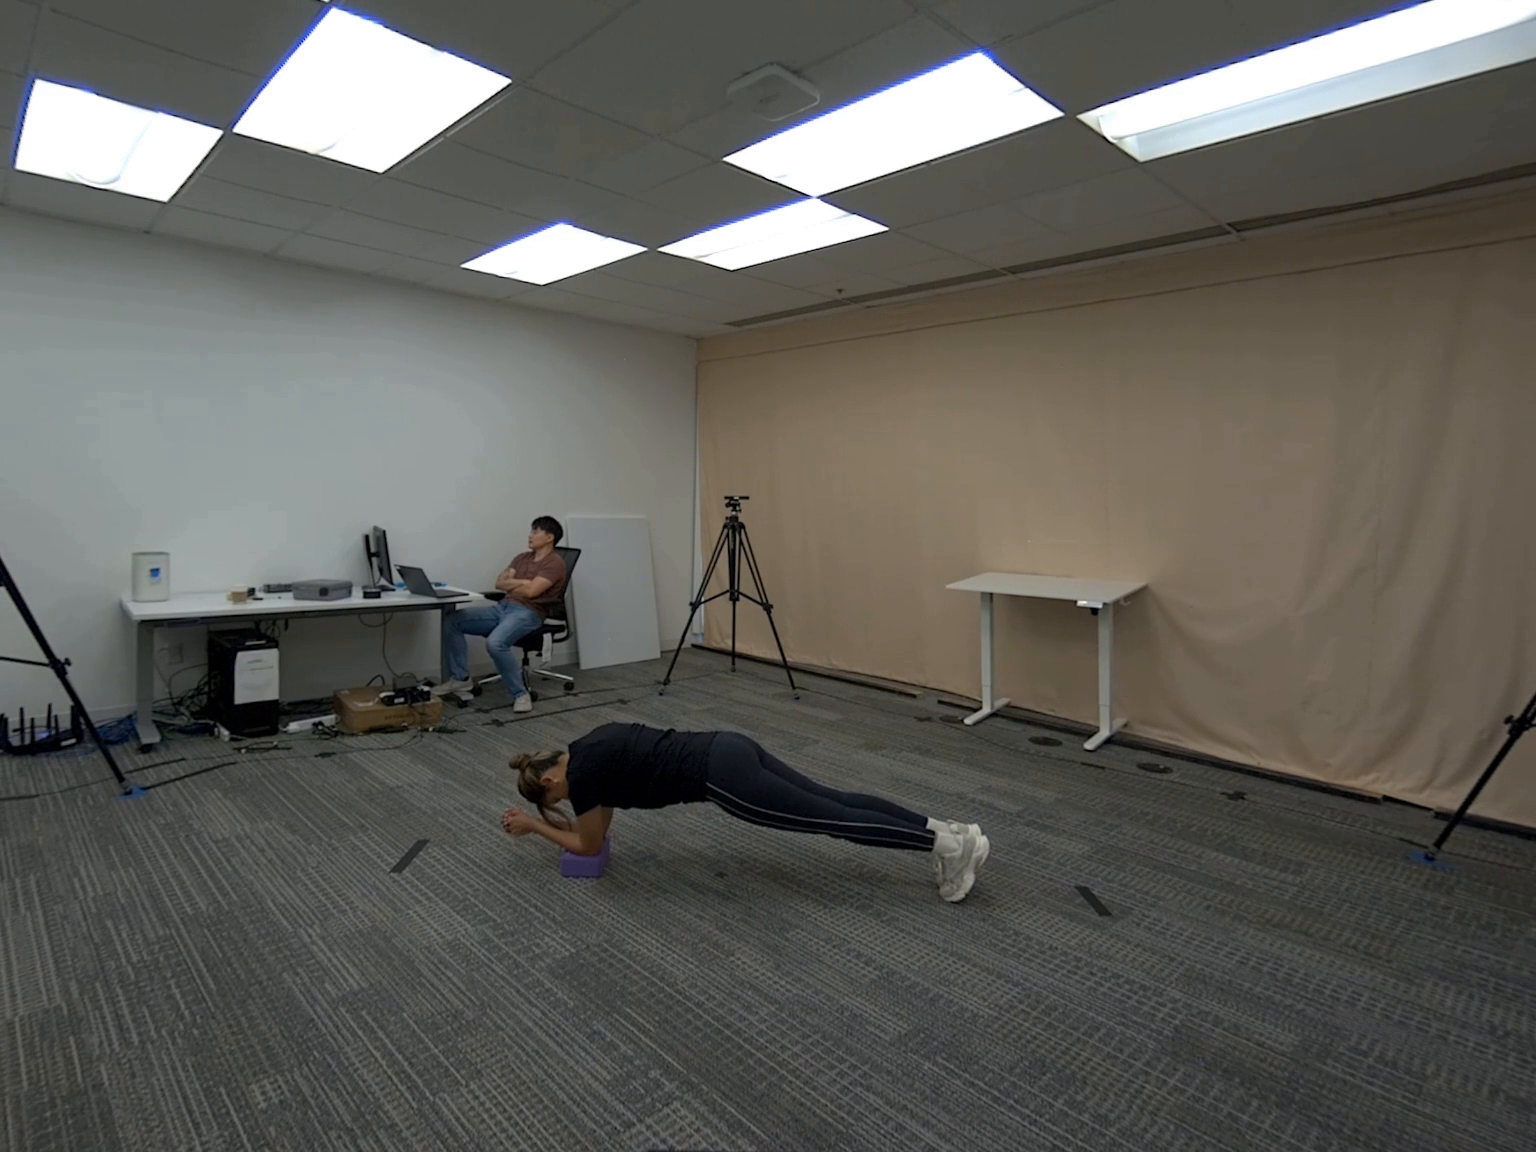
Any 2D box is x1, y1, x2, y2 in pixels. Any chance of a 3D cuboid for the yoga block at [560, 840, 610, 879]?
[{"bbox_3d":[-0.686,1.043,3.163,0.149,0.076,0.230,1,5,0],"label":"yoga block"}]
